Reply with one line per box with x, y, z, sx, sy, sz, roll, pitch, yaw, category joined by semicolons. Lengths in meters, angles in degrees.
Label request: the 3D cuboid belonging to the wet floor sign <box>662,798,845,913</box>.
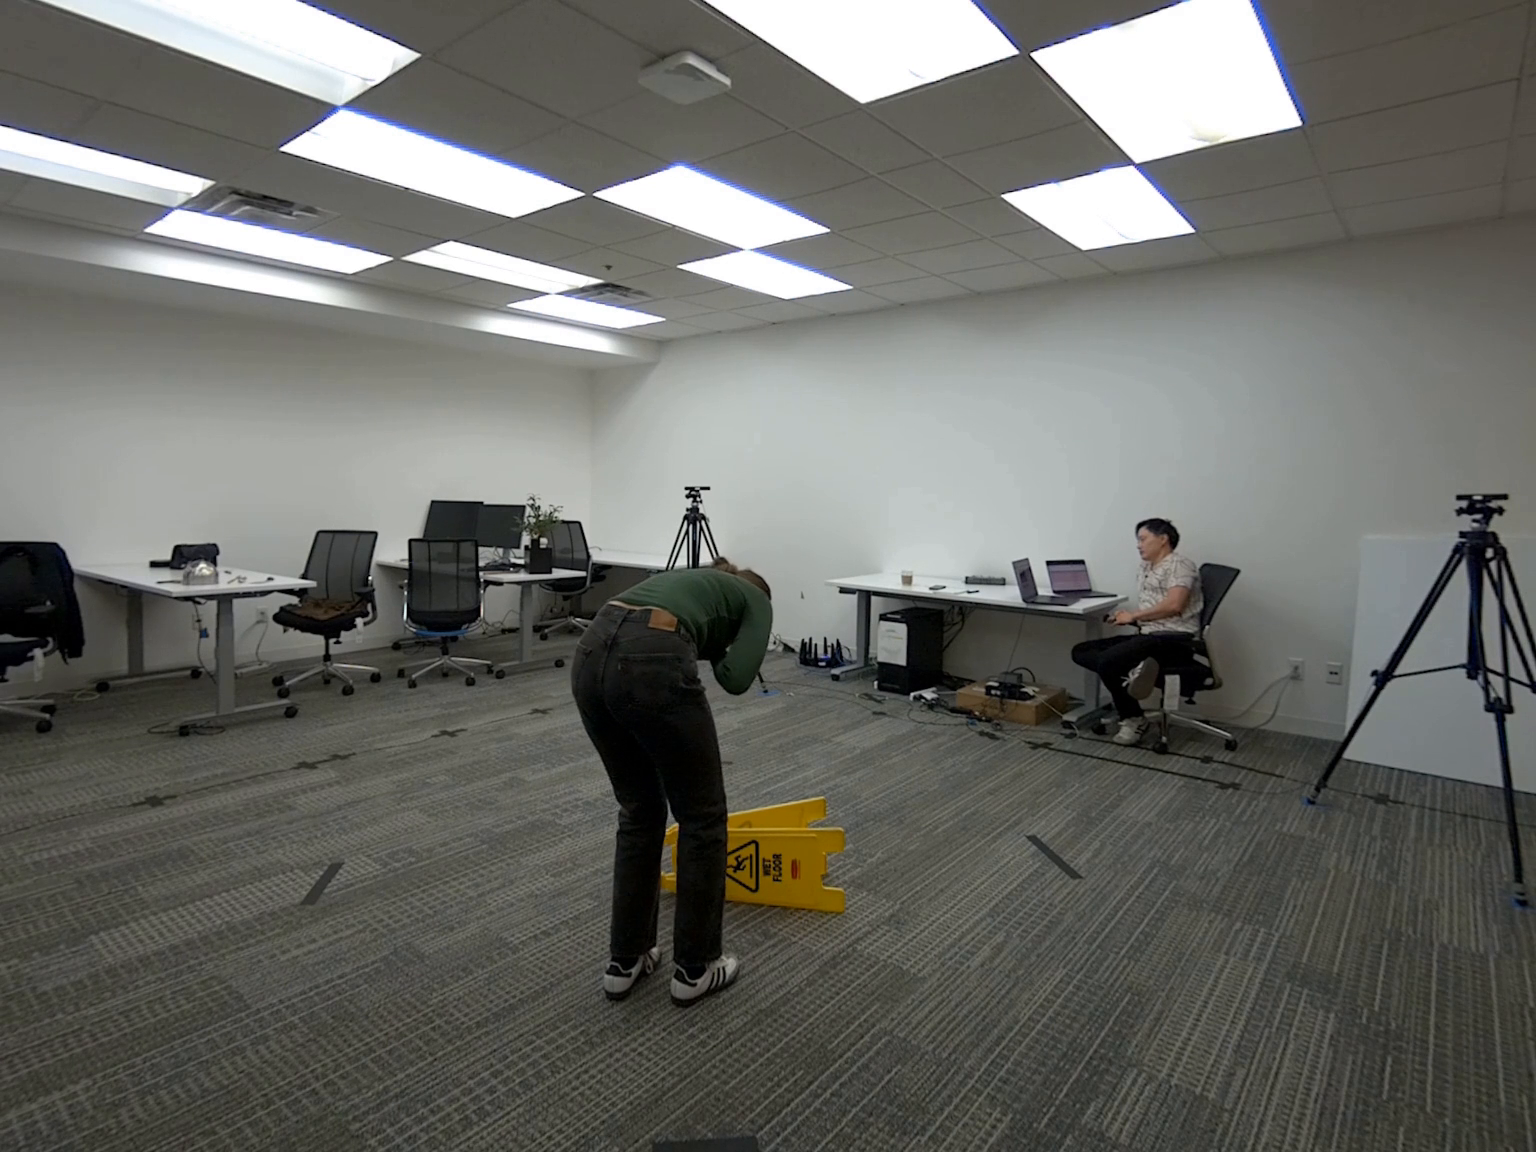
-0.099;0.953;2.912;0.643;0.281;0.292;-2;4;-5;wet floor sign
